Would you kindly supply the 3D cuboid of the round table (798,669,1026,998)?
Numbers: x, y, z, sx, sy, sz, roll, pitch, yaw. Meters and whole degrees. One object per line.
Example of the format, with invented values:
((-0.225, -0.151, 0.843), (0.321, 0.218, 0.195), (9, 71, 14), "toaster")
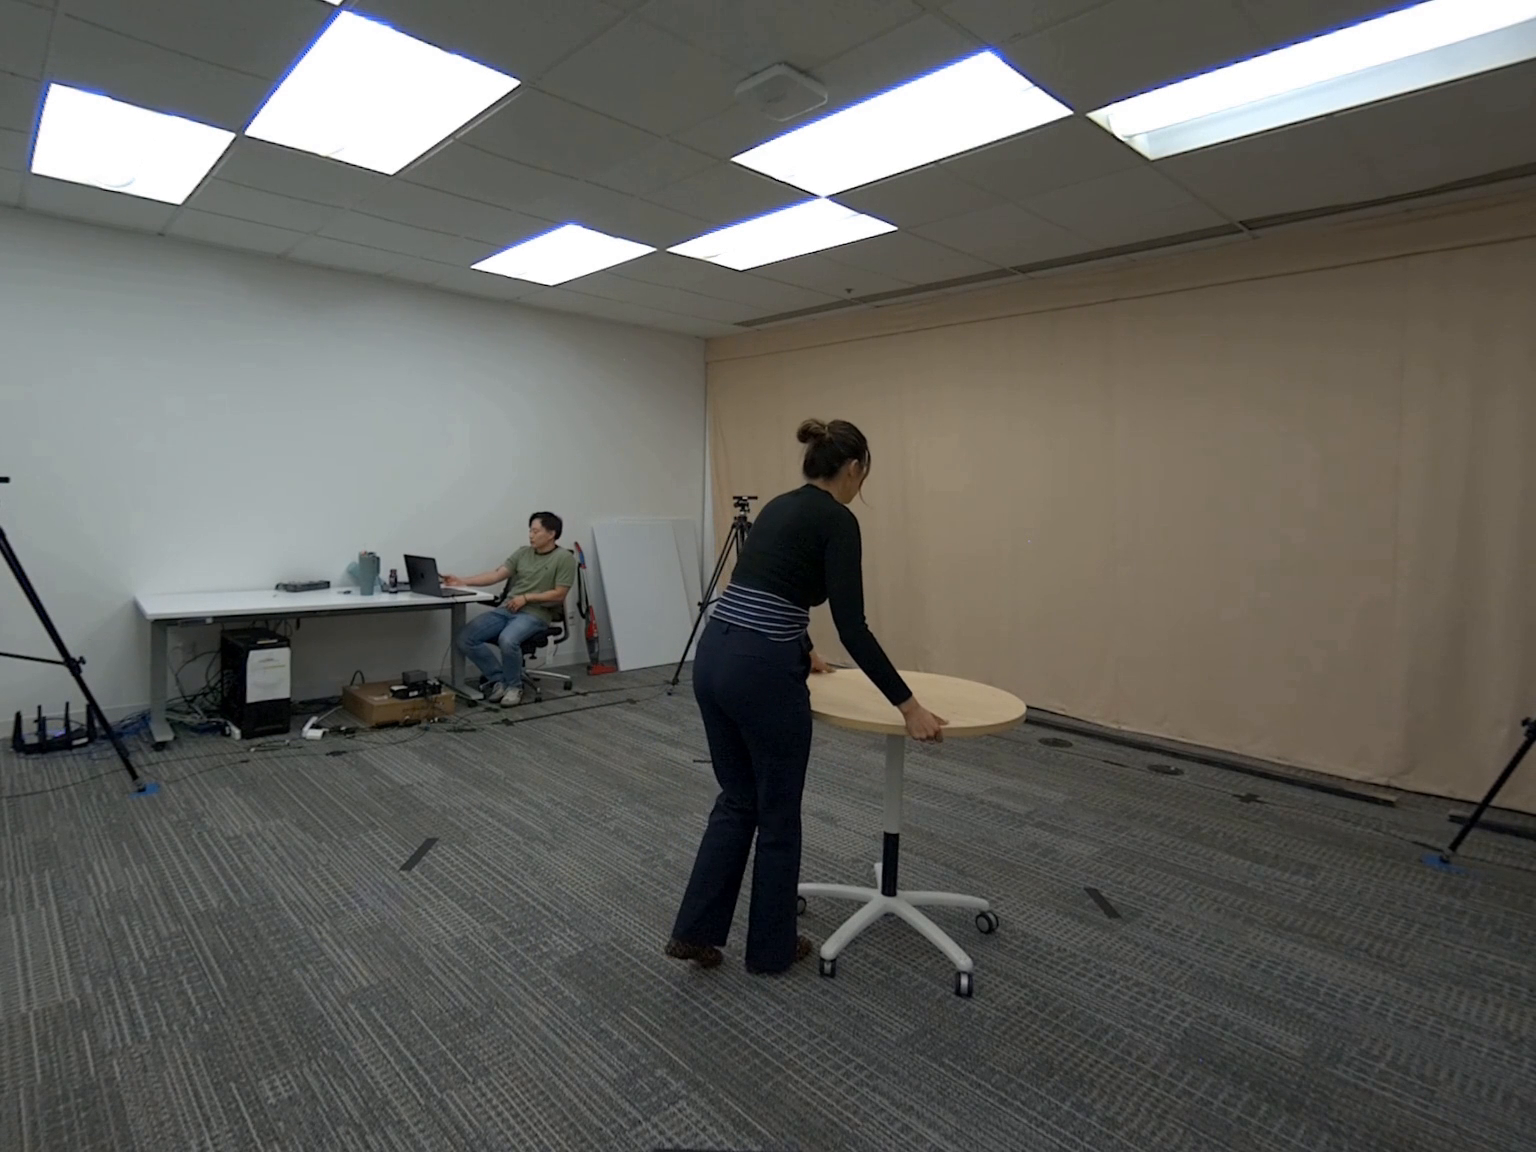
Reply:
((0.388, 0.766, 2.669), (0.763, 0.792, 0.766), (2, 4, -2), "round table")
